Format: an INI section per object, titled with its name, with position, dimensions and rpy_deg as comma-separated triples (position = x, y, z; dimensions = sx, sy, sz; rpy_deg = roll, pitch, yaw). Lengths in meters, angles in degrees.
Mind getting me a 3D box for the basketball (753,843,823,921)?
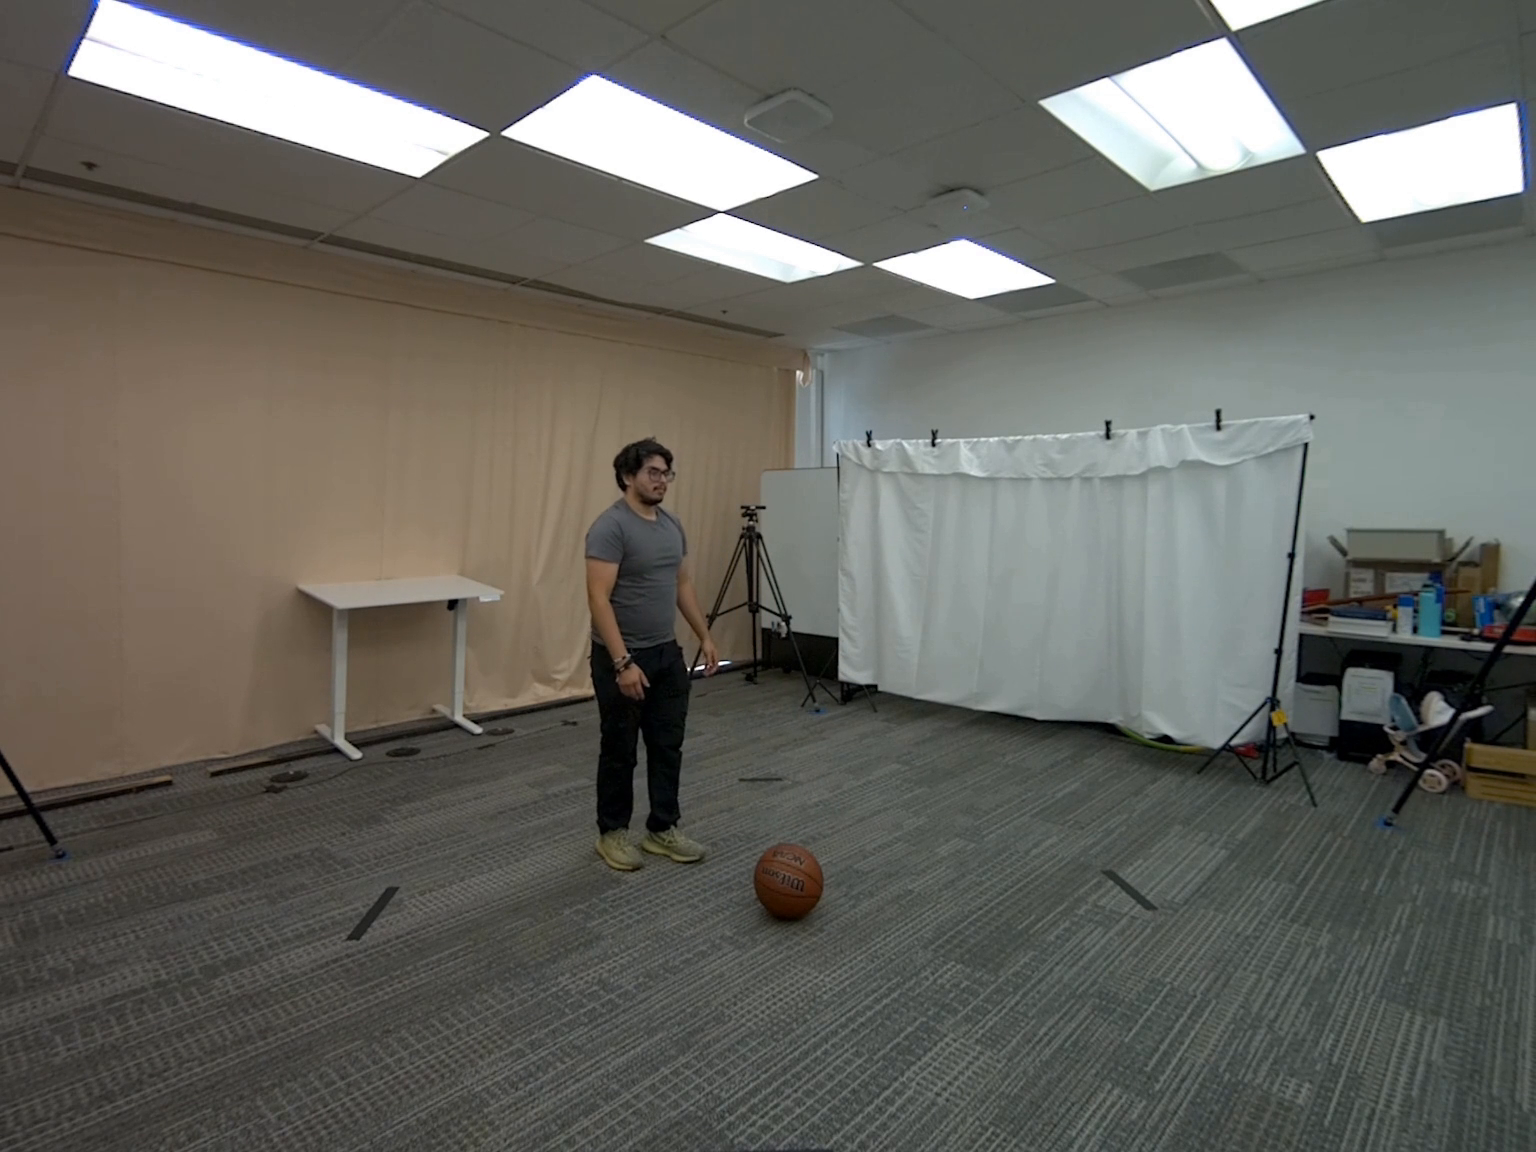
[basketball]
position = 0.077, 1.032, 2.864
dimensions = 0.236, 0.235, 0.237
rpy_deg = 0, 4, -2
